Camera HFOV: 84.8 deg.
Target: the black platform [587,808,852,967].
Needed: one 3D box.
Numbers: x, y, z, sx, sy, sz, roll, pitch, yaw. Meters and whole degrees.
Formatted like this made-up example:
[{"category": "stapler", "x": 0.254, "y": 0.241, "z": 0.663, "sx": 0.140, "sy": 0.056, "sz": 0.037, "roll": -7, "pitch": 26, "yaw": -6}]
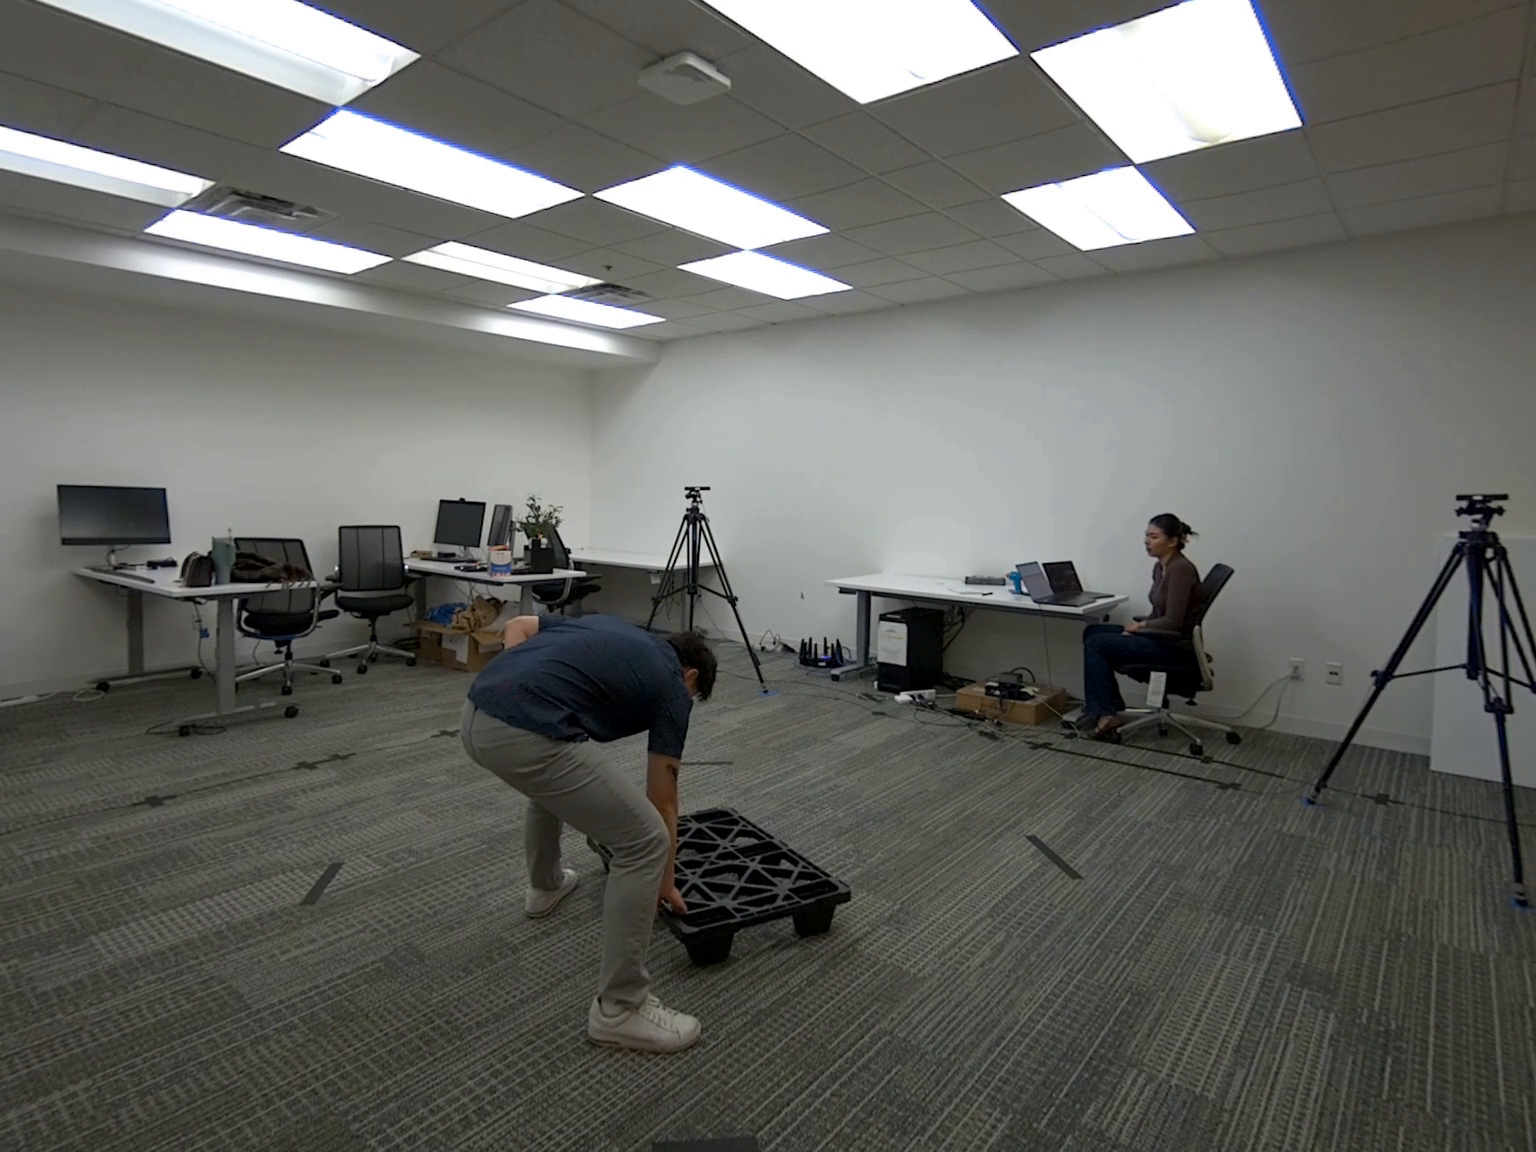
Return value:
[{"category": "black platform", "x": -0.202, "y": 1.015, "z": 2.874, "sx": 0.589, "sy": 0.143, "sz": 0.831, "roll": -2, "pitch": 6, "yaw": -31}]
